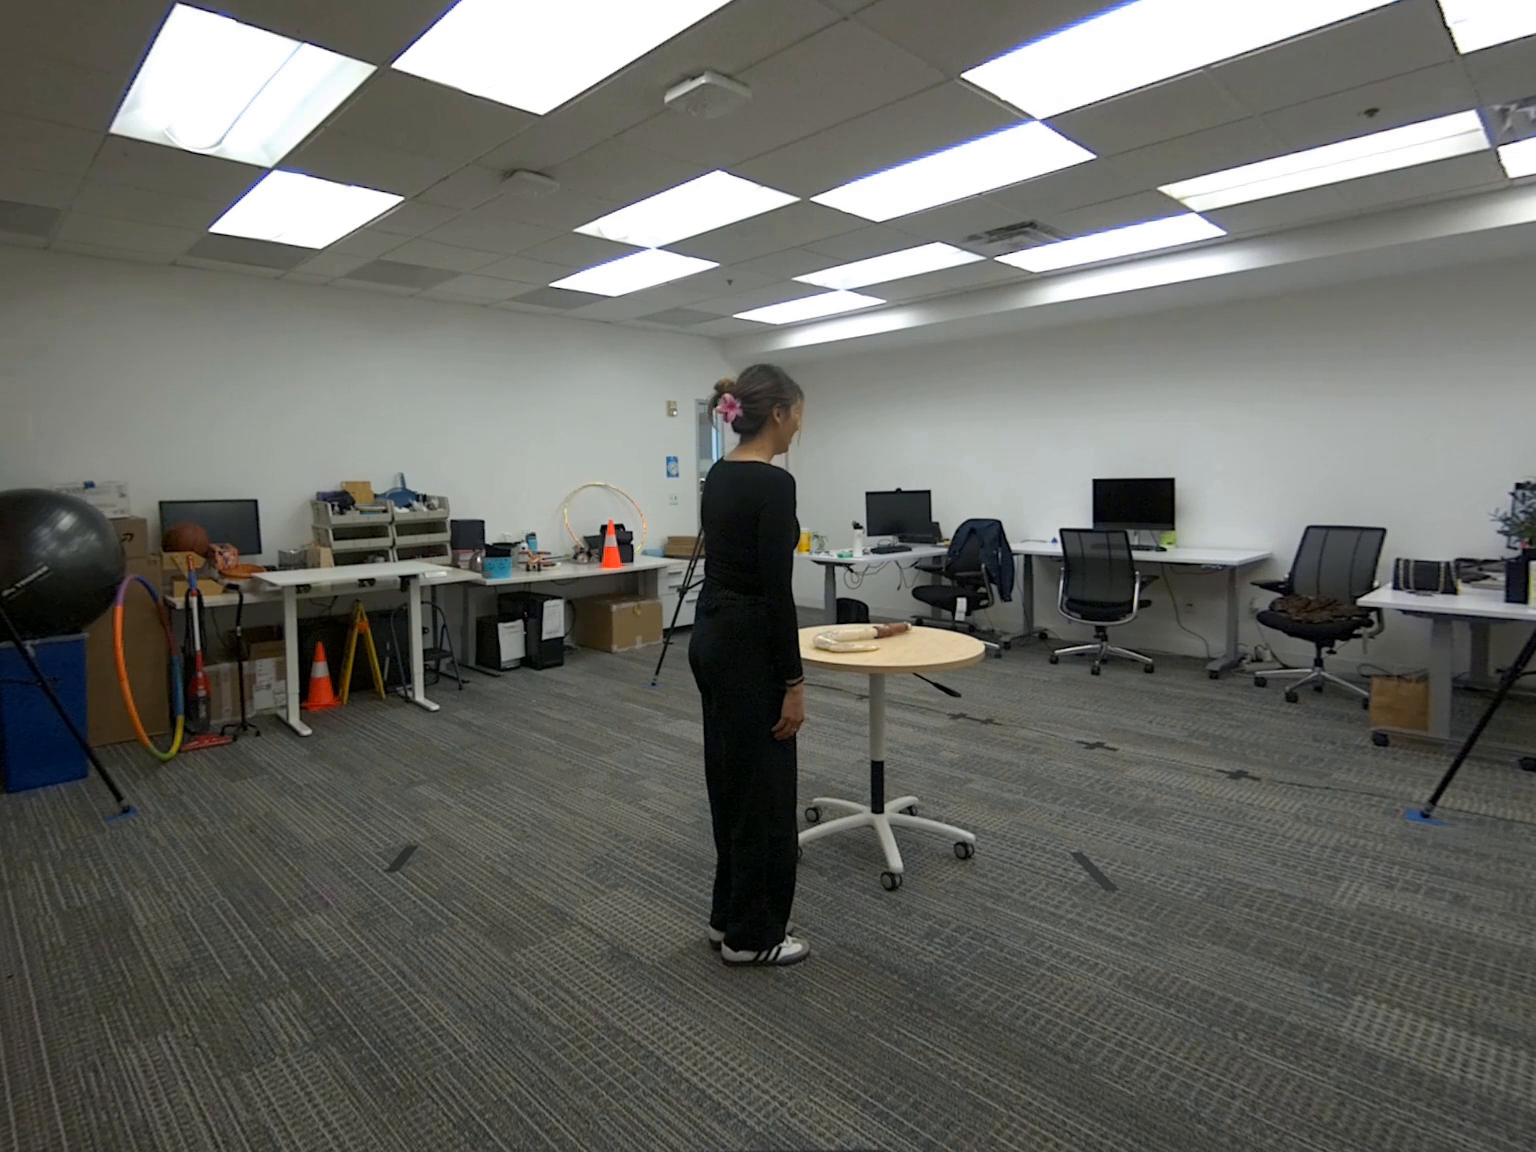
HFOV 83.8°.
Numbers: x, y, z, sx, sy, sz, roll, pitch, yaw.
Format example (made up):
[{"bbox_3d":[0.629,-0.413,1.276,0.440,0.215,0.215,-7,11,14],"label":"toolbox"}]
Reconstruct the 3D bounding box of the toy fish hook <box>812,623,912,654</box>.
[{"bbox_3d":[0.402,0.233,3.165,0.494,0.048,0.232,-7,15,-37],"label":"toy fish hook"}]
